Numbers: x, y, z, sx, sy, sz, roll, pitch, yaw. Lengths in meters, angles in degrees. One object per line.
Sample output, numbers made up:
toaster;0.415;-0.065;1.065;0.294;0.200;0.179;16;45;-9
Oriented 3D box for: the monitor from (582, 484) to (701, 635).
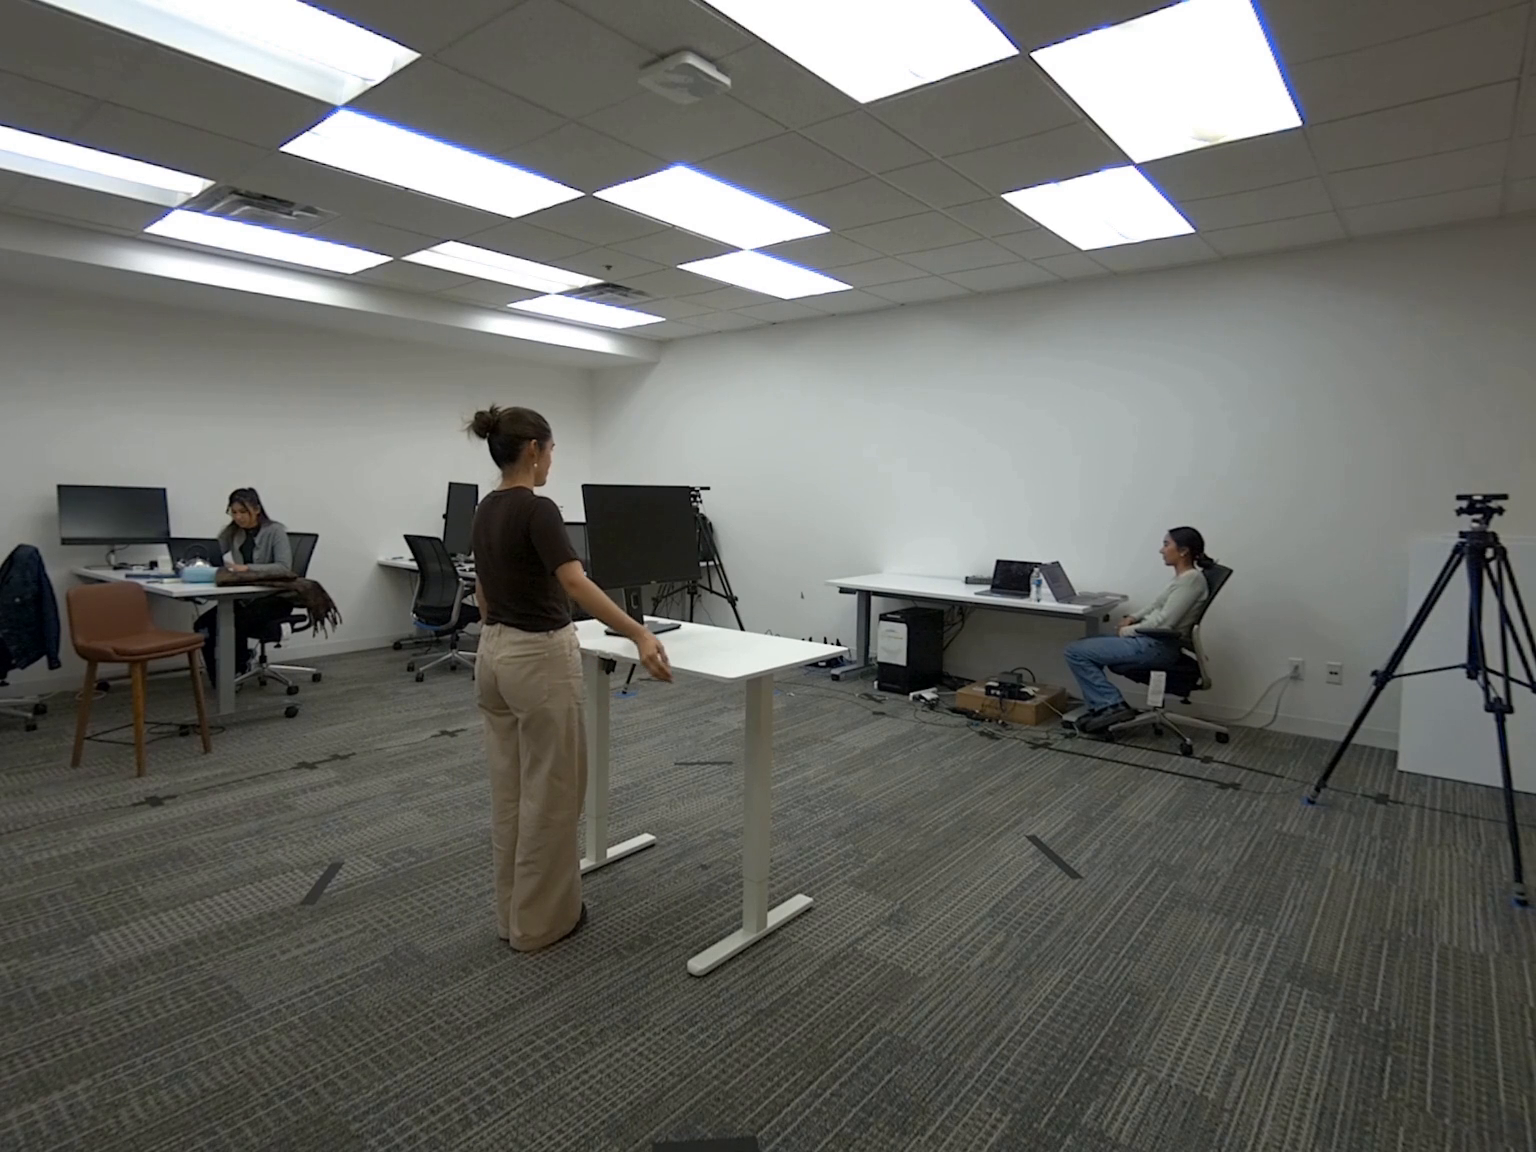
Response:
monitor;-0.456;-0.061;2.980;0.193;0.520;0.523;5;6;37
